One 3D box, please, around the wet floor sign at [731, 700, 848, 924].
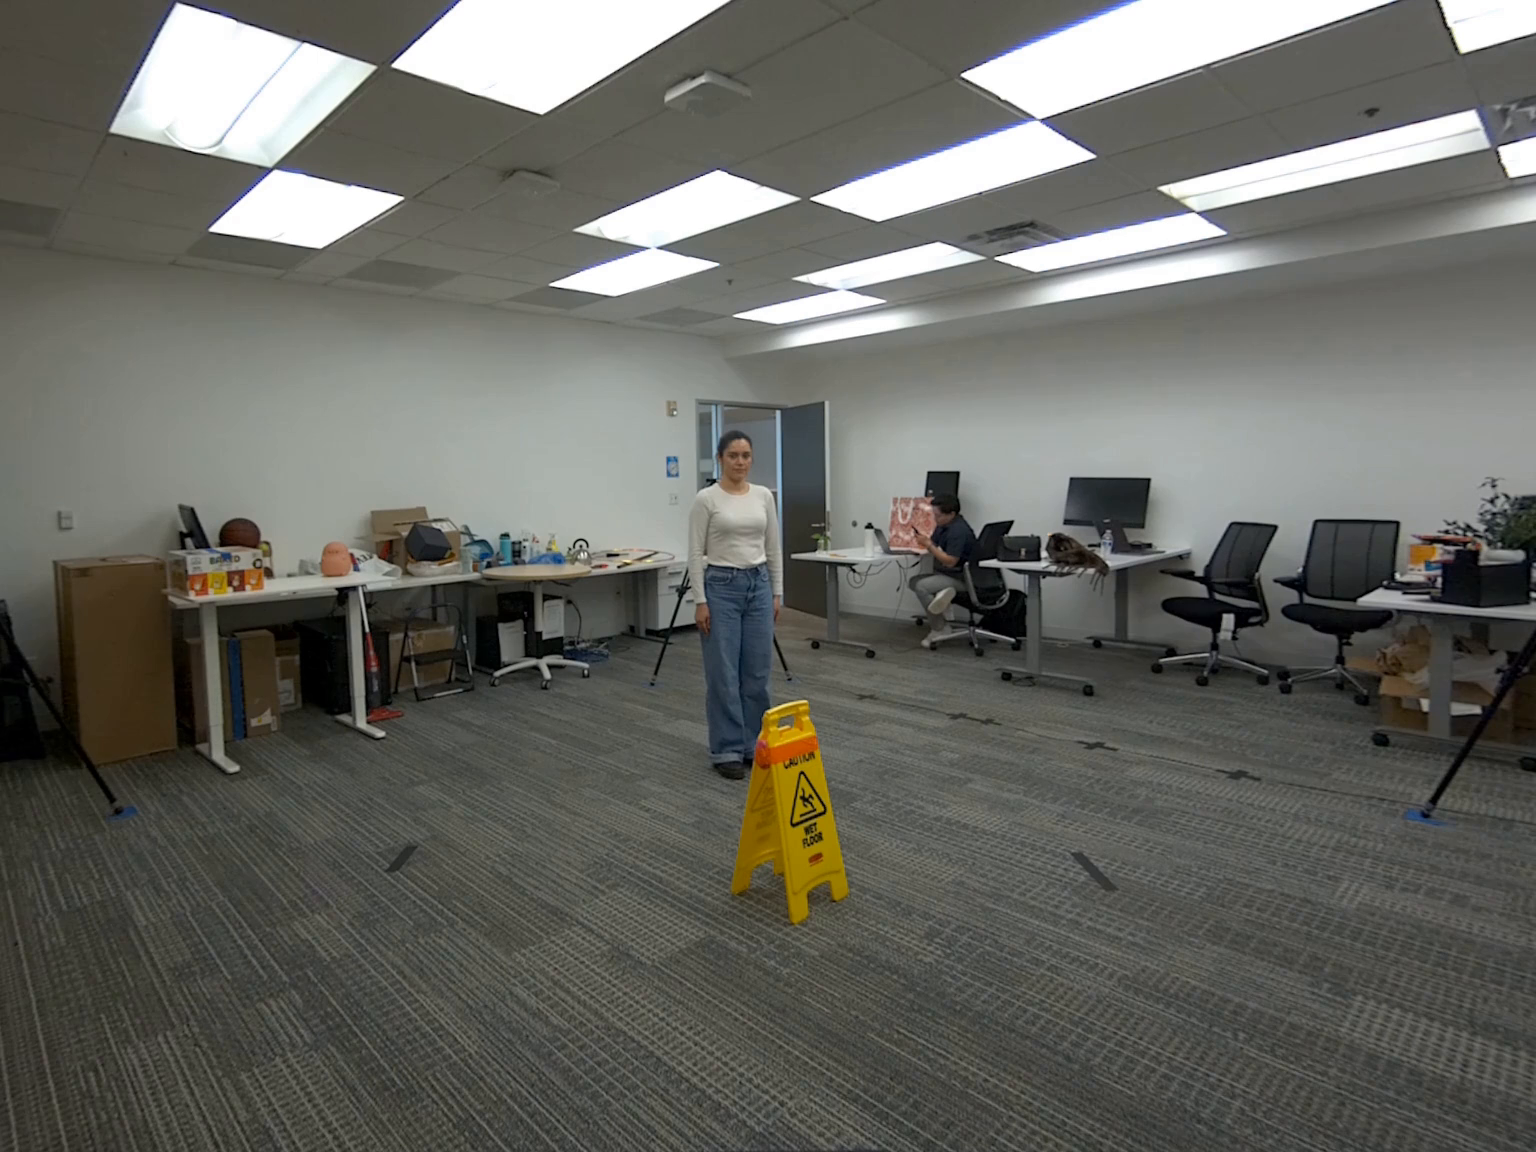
[{"bbox_3d":[0.068,0.751,2.846,0.275,0.643,0.299,-5,7,-45],"label":"wet floor sign"}]
